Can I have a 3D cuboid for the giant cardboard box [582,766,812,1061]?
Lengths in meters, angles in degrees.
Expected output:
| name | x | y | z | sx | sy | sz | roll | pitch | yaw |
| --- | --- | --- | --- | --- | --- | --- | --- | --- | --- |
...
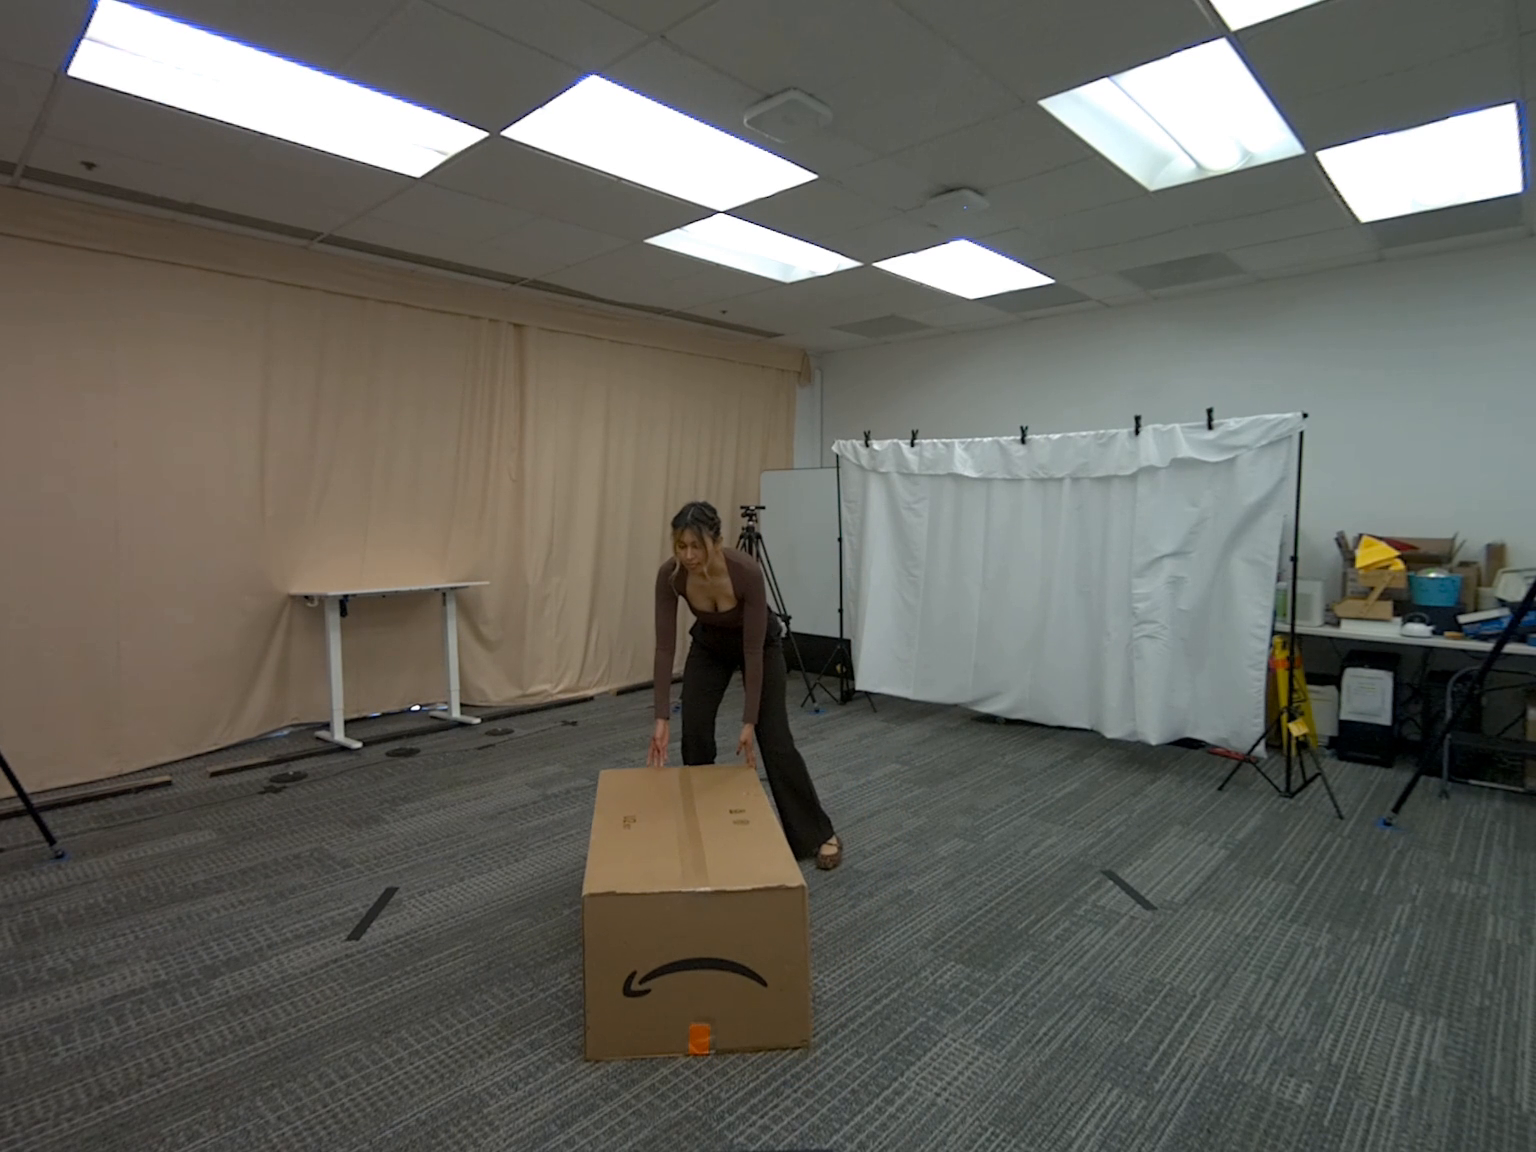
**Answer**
| name | x | y | z | sx | sy | sz | roll | pitch | yaw |
| --- | --- | --- | --- | --- | --- | --- | --- | --- | --- |
| giant cardboard box | -0.252 | 0.958 | 2.630 | 0.580 | 0.446 | 1.036 | -2 | 4 | -7 |
